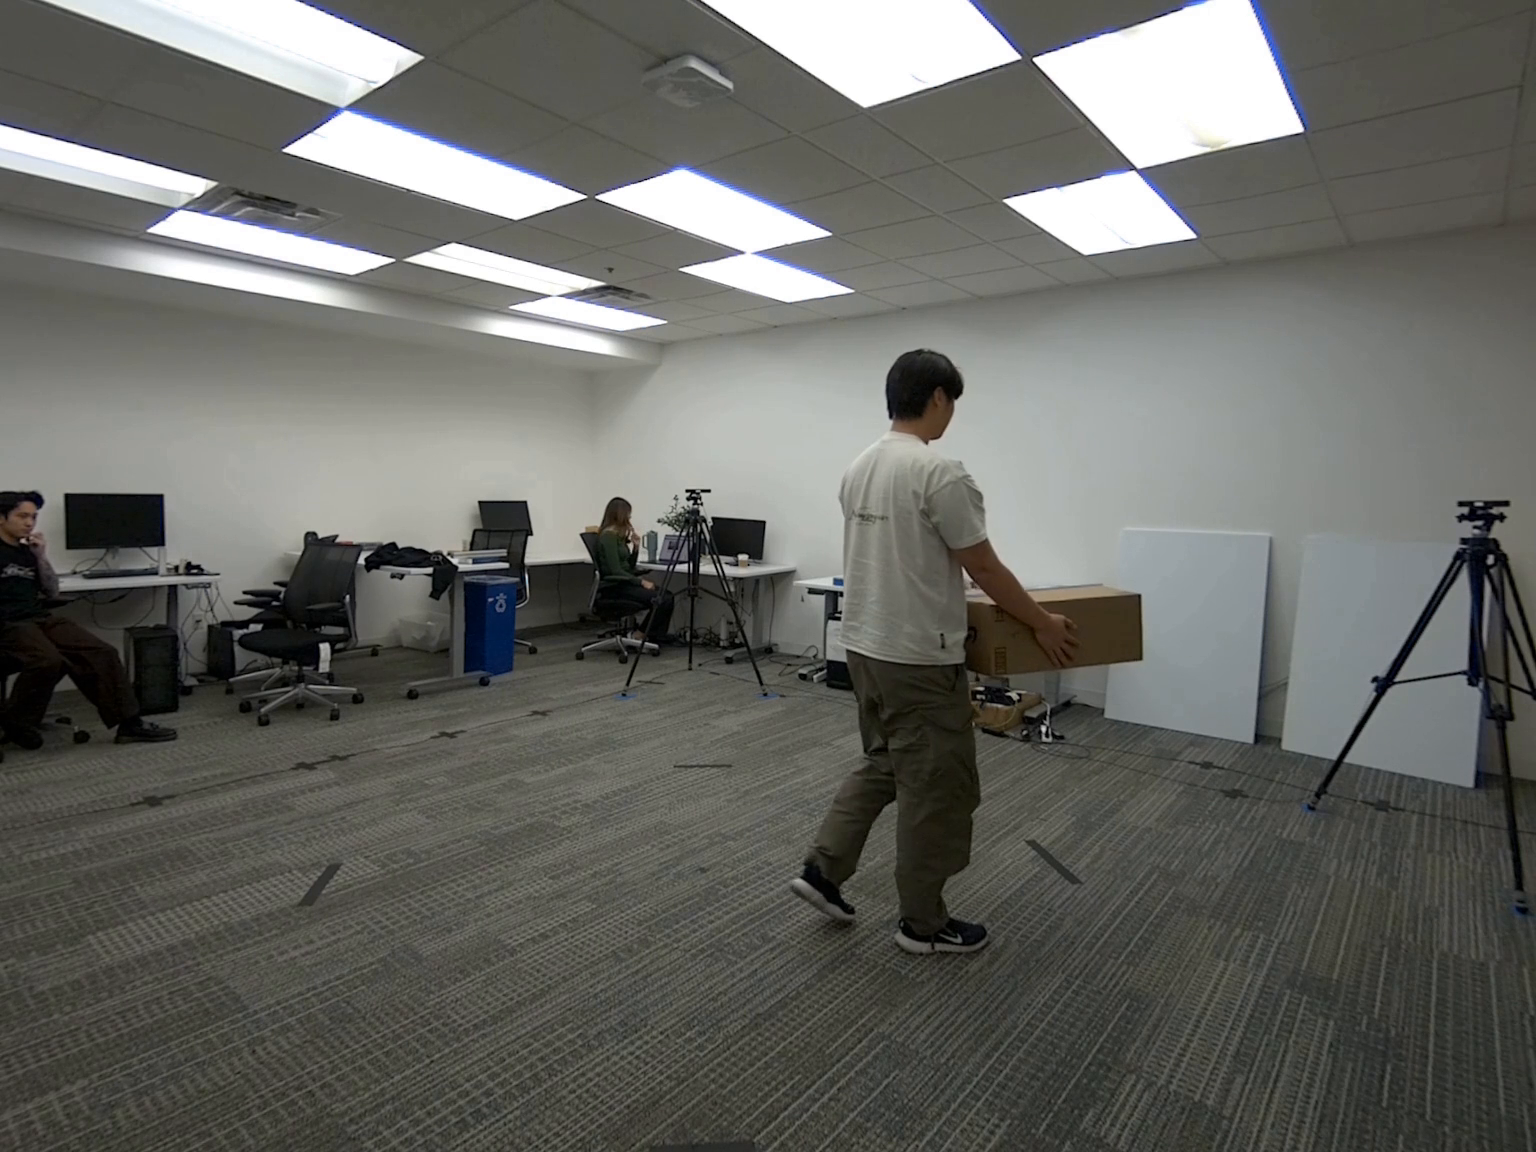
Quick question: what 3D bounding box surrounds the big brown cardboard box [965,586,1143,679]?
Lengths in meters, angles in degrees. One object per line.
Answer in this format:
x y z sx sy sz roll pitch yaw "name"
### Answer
0.836 0.165 2.787 0.578 0.232 0.427 -5 4 -21 "big brown cardboard box"
